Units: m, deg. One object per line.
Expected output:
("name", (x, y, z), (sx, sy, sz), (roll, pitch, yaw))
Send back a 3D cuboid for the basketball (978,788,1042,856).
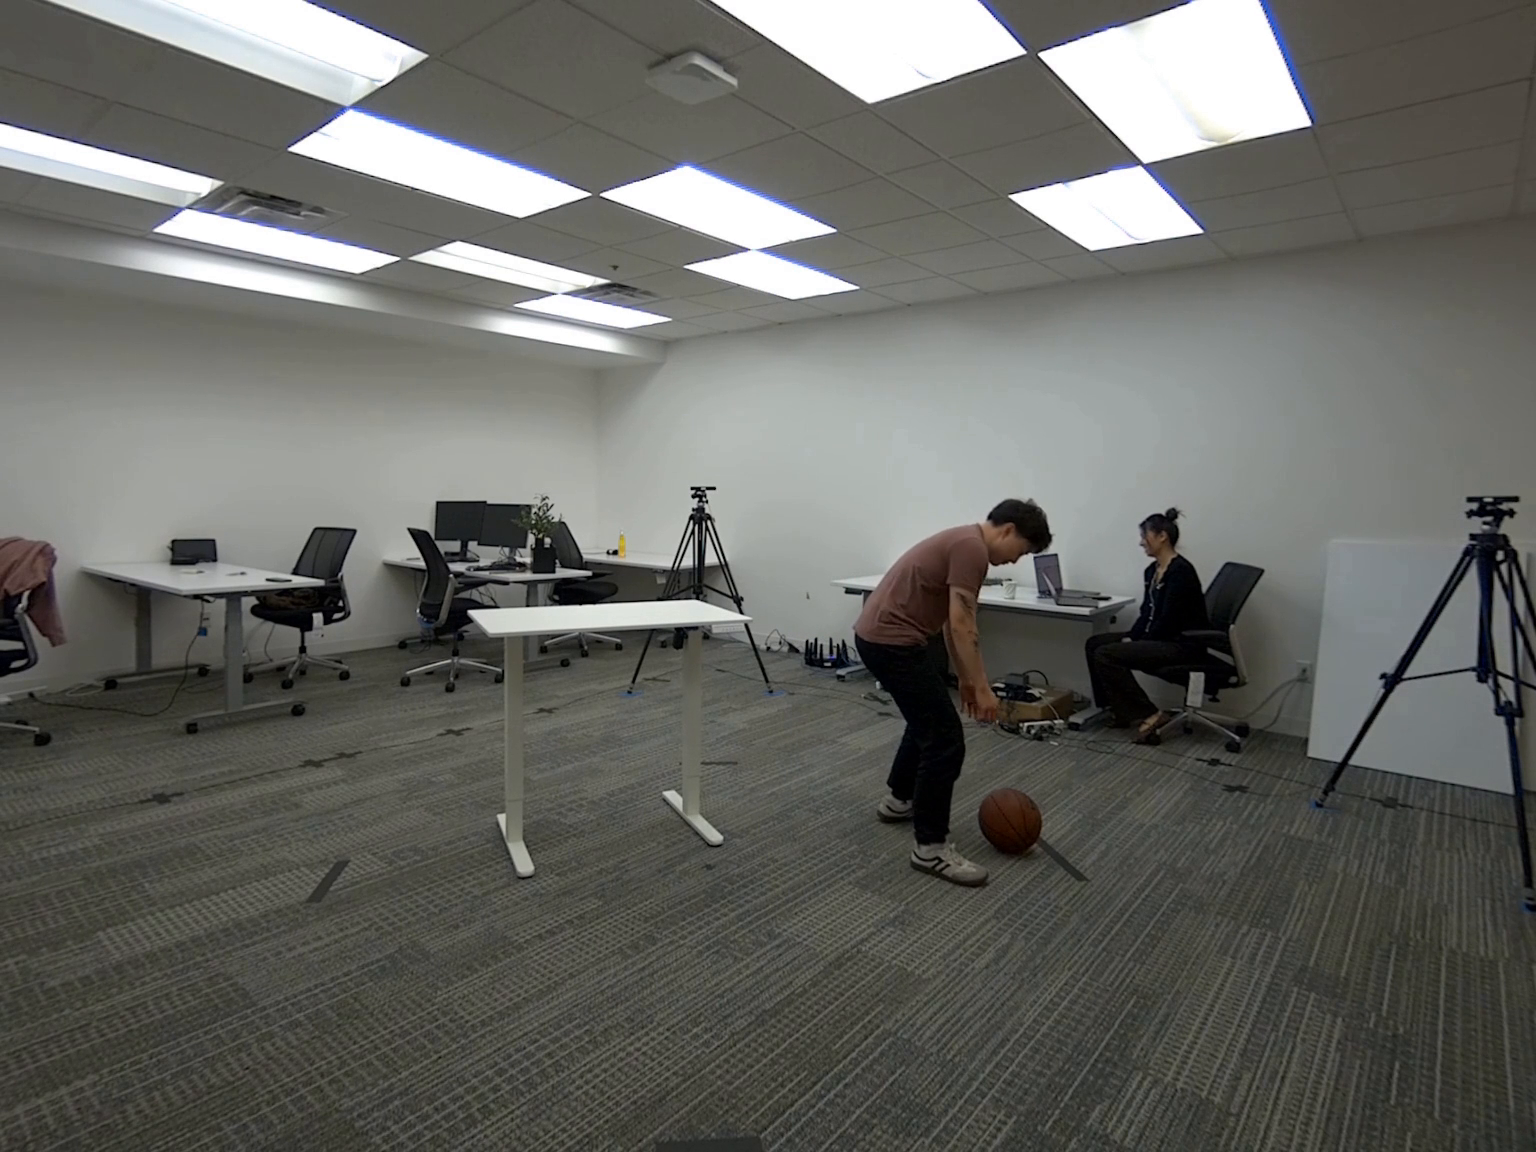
("basketball", (0.939, 0.944, 3.328), (0.235, 0.235, 0.237), (1, 4, -2))
